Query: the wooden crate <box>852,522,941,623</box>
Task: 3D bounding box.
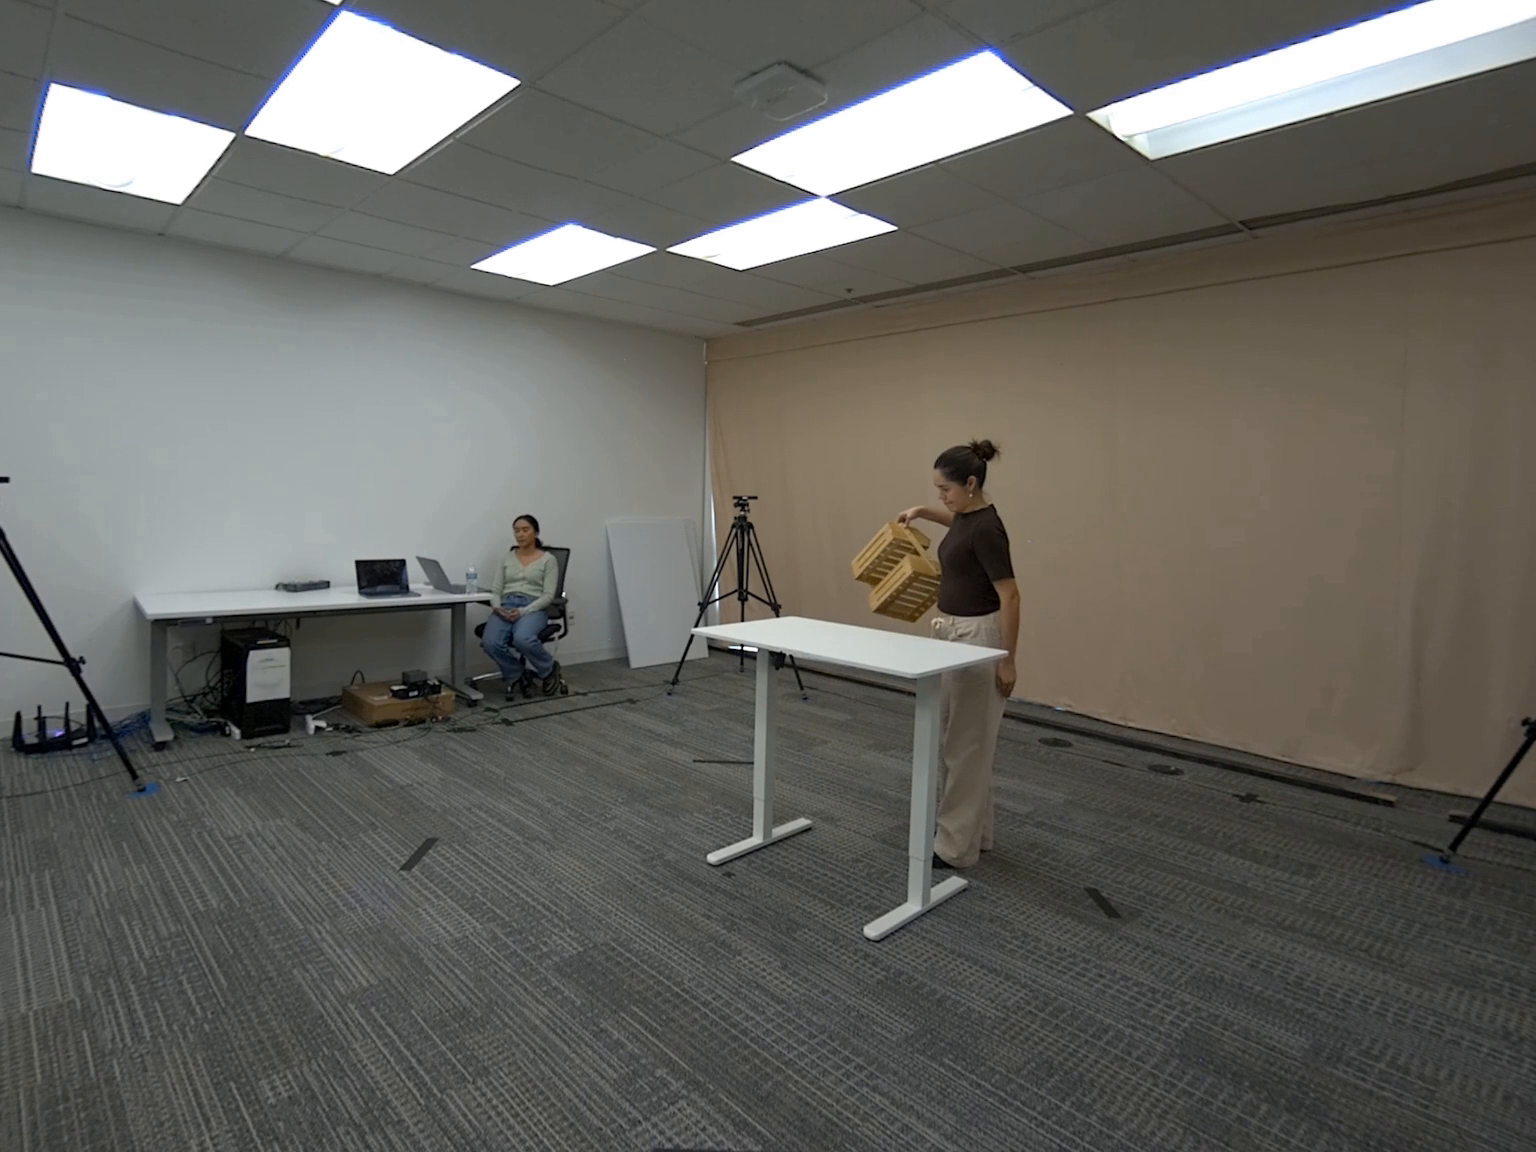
[{"bbox_3d":[0.574,-0.008,3.630,0.295,0.280,0.323,14,-44,-26],"label":"wooden crate"}]
